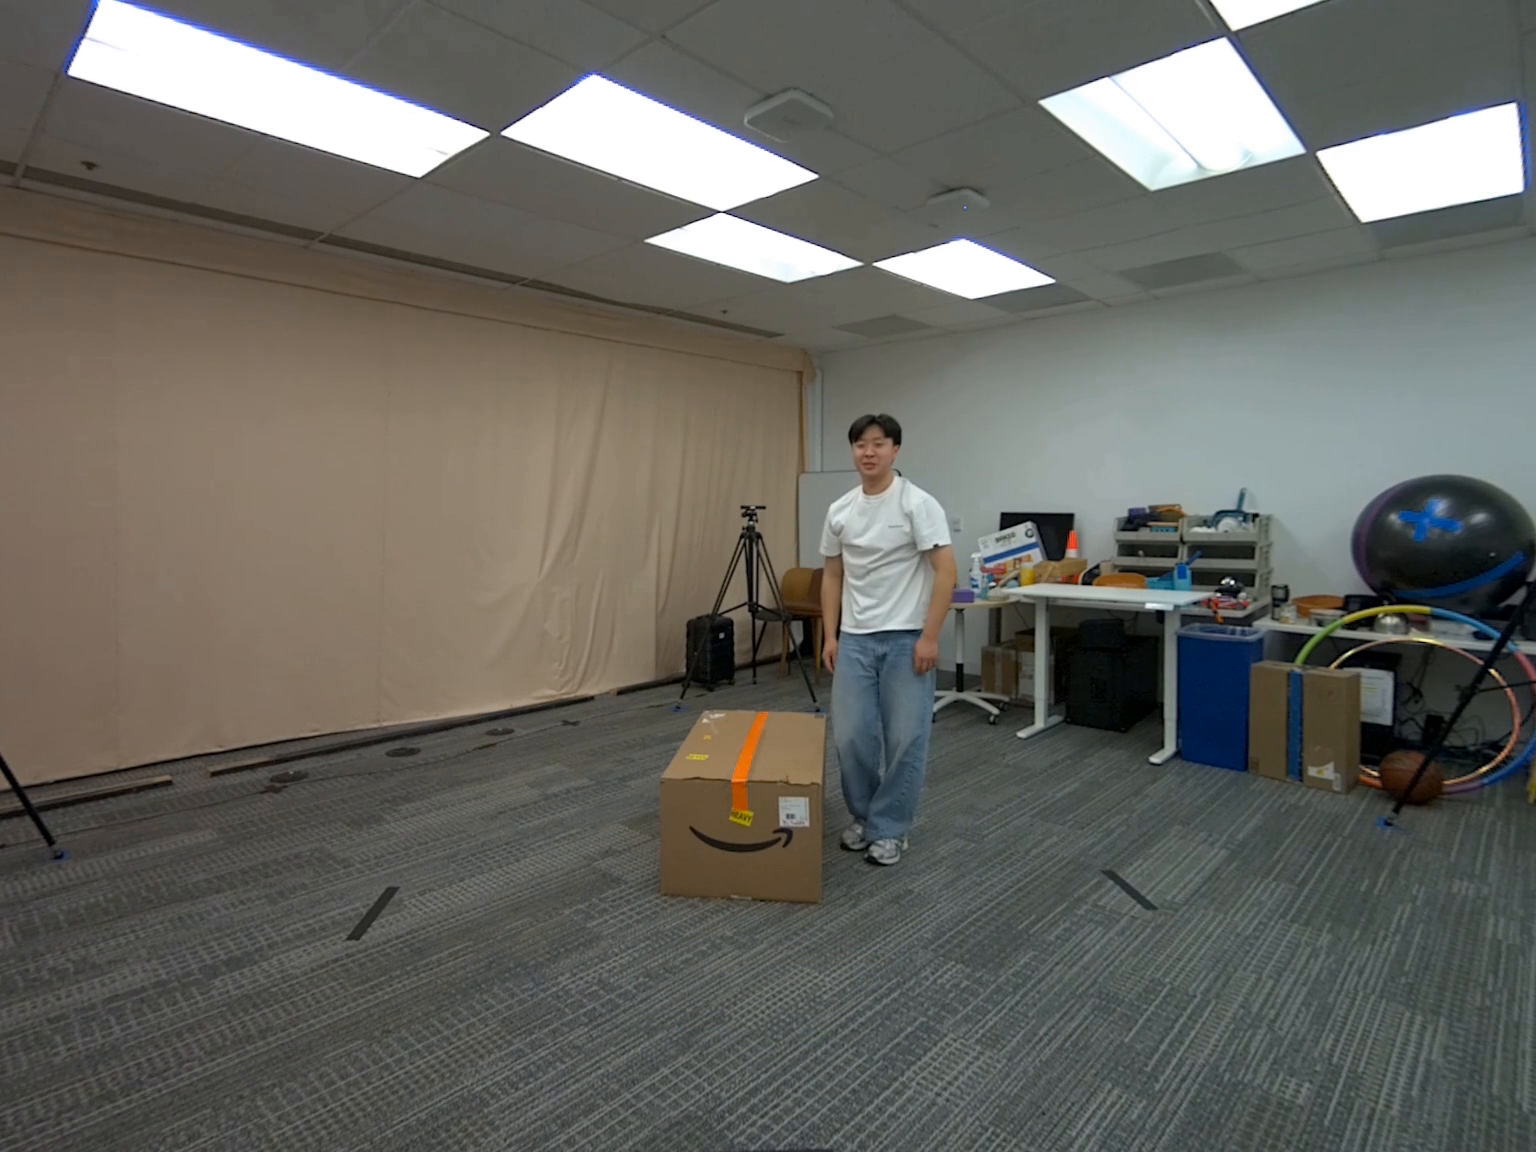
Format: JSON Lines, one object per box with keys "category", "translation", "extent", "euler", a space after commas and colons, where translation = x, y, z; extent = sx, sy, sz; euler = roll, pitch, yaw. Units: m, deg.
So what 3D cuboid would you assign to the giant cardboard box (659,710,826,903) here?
{"category": "giant cardboard box", "translation": [-0.057, 0.886, 3.471], "extent": [0.582, 0.425, 1.021], "euler": [0, 5, 5]}
